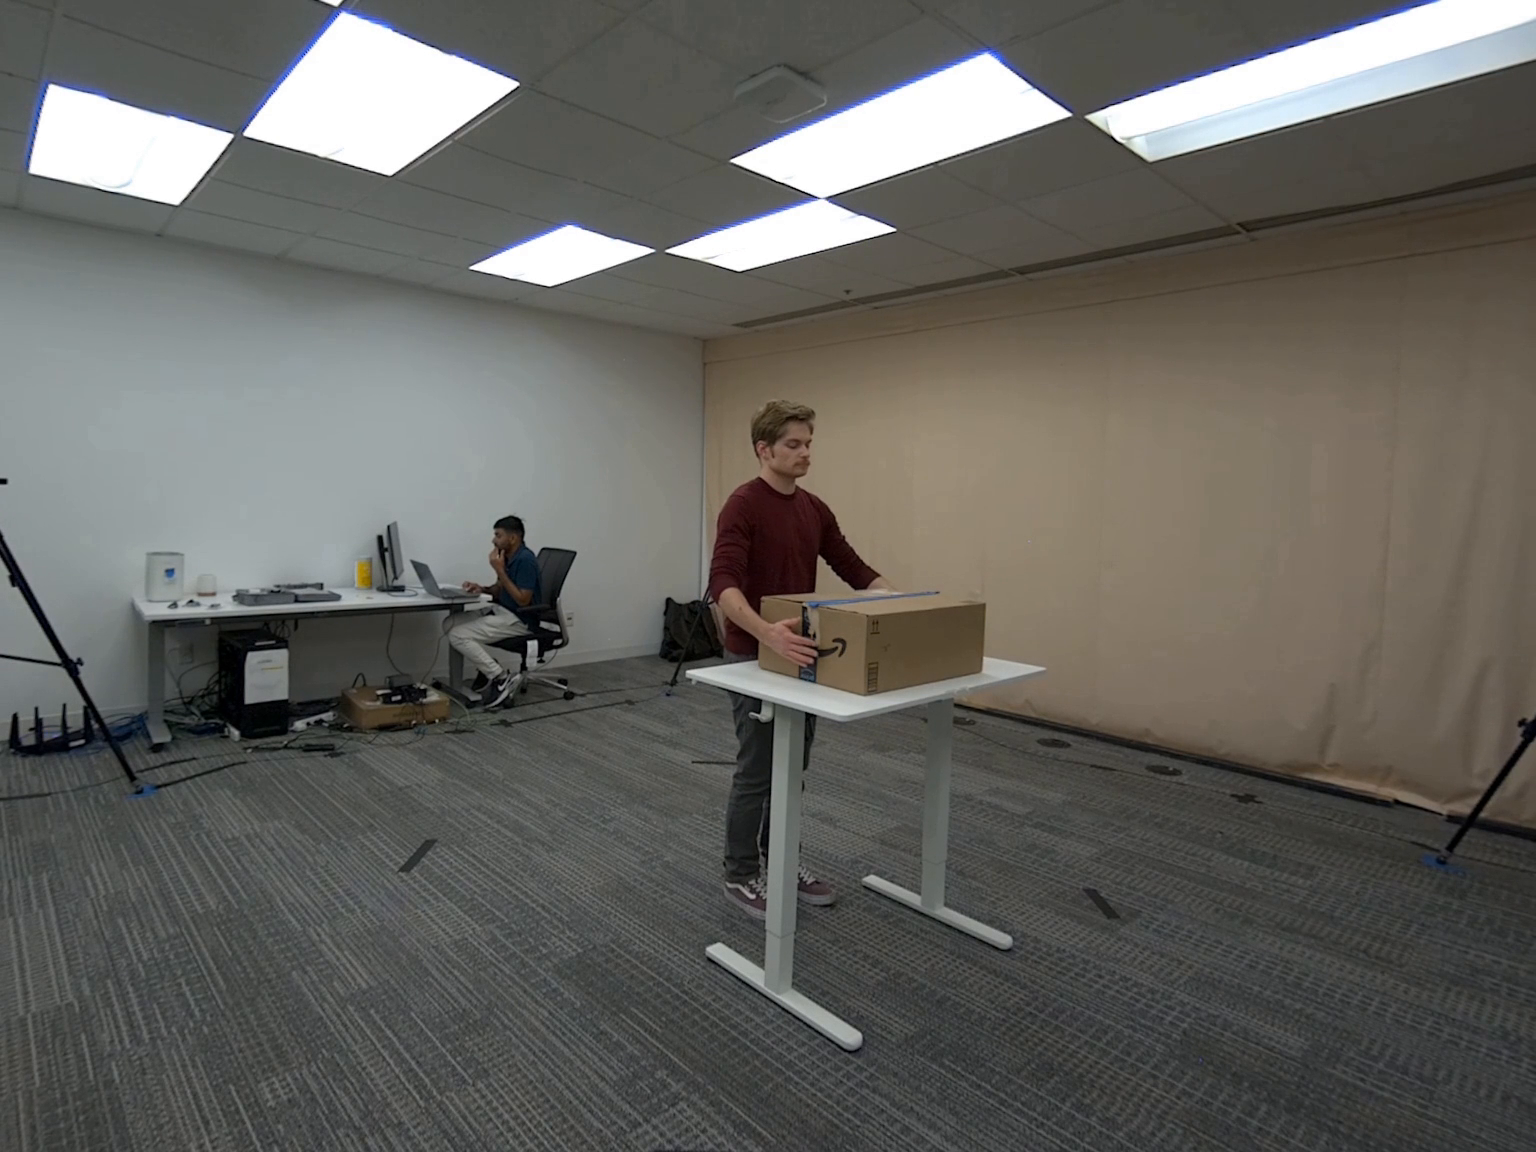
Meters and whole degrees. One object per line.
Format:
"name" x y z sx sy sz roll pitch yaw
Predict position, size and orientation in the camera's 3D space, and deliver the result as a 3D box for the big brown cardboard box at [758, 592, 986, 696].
"big brown cardboard box" 0.322 0.178 2.532 0.575 0.232 0.428 -3 7 -42
